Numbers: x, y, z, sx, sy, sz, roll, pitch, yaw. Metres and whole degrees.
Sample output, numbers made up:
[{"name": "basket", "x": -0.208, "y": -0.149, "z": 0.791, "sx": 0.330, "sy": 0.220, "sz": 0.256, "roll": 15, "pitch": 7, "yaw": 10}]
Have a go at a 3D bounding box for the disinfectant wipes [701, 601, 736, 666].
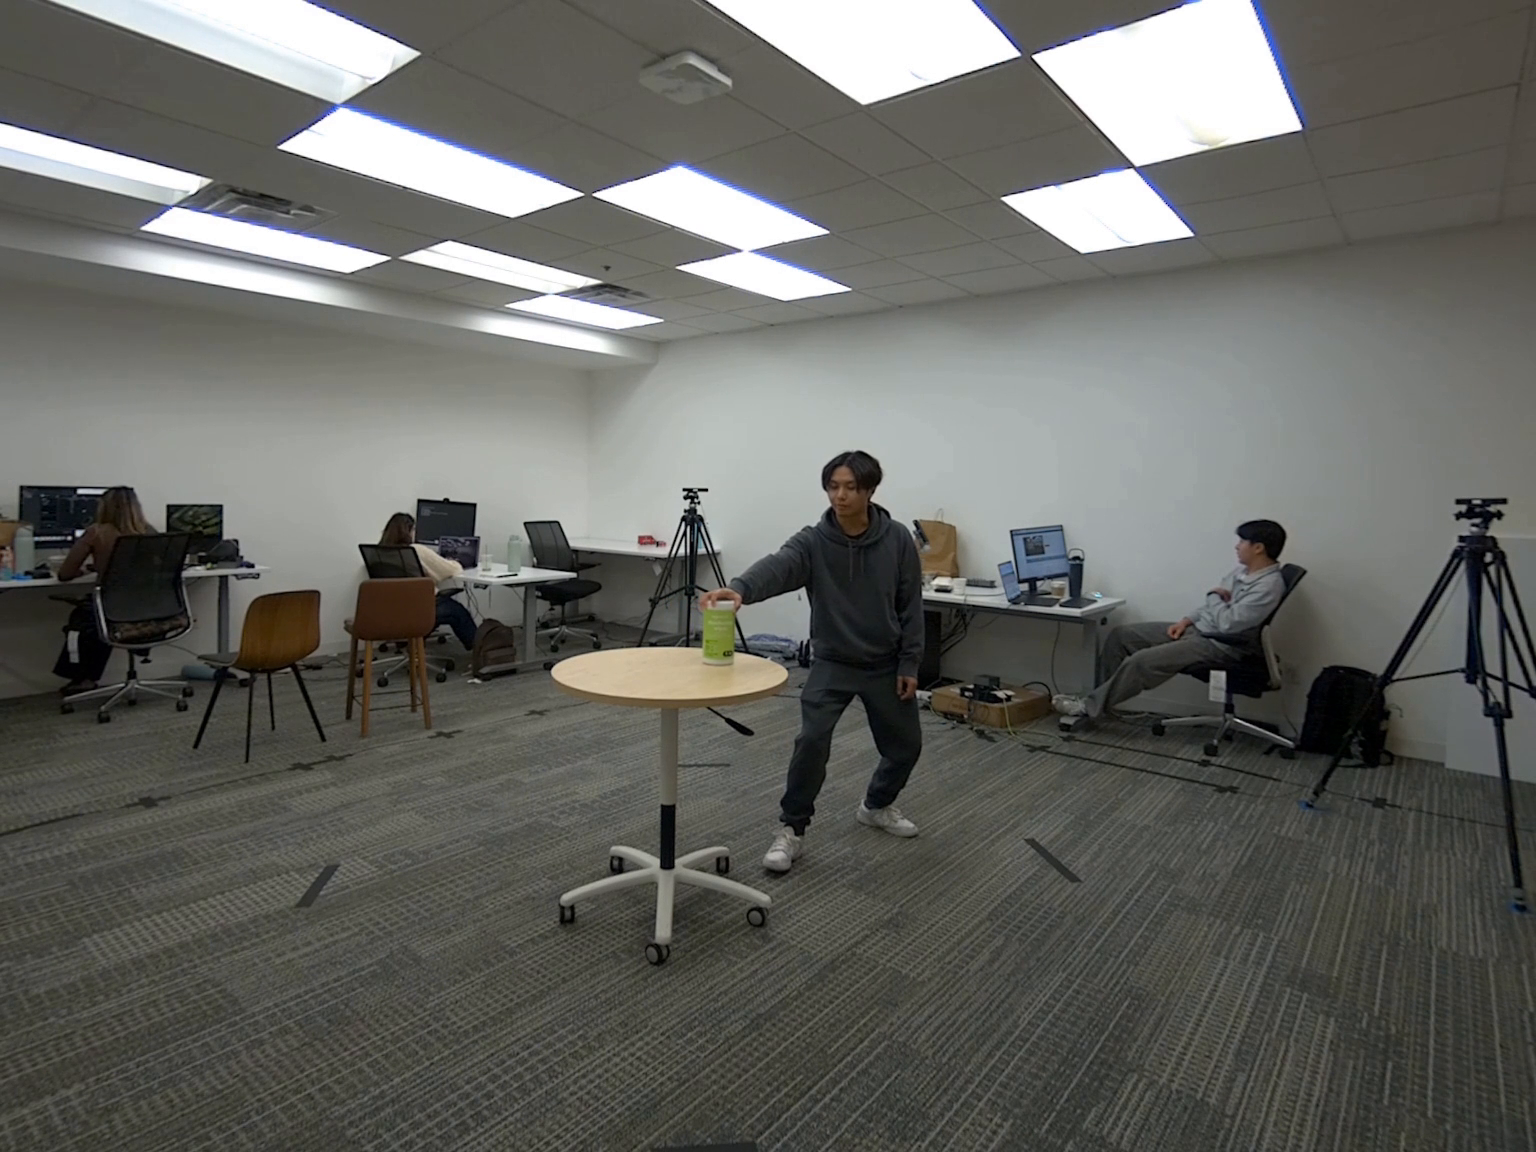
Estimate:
[{"name": "disinfectant wipes", "x": -0.183, "y": 0.186, "z": 2.896, "sx": 0.118, "sy": 0.217, "sz": 0.118, "roll": 1, "pitch": 2, "yaw": -2}]
